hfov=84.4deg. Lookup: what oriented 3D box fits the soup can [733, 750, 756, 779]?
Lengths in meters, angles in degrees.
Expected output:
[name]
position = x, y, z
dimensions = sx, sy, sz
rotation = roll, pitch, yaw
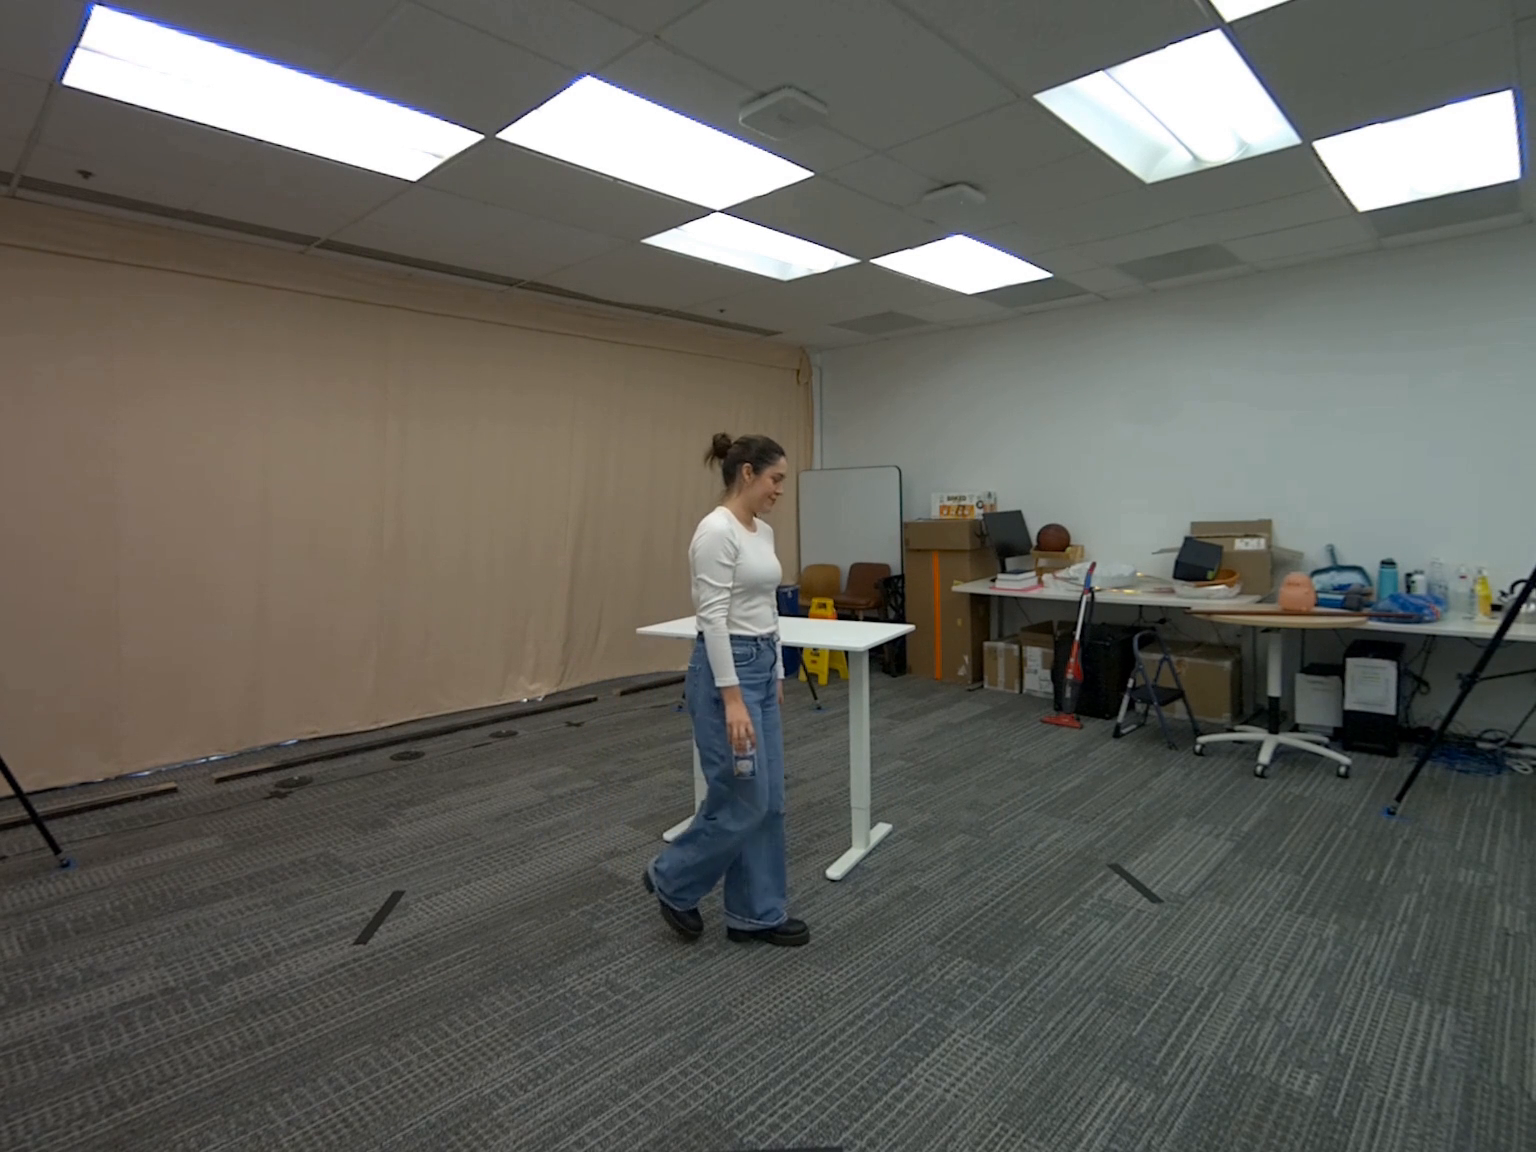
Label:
[soup can]
position = -0.063, 0.517, 2.420
dimensions = 0.067, 0.121, 0.067
rotation = -1, 3, -2
